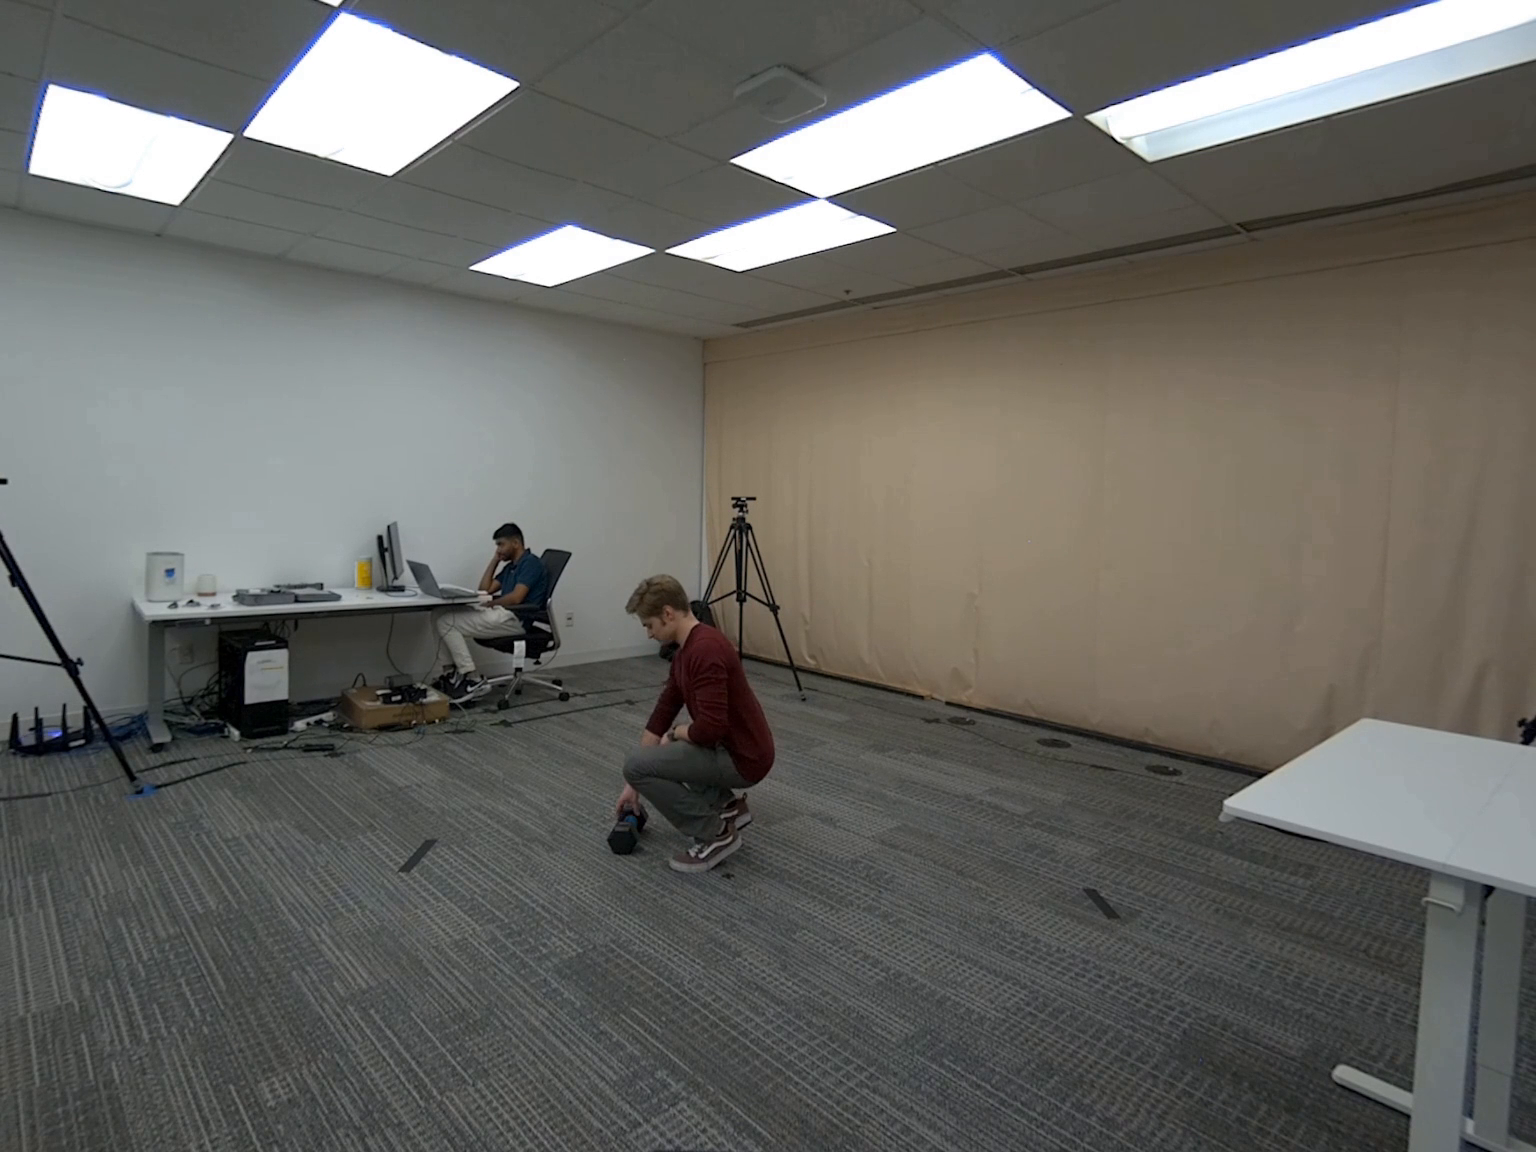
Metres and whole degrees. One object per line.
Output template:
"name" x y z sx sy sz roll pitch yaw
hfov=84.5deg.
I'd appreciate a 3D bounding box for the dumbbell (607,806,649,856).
"dumbbell" -0.571 1.016 3.400 0.108 0.123 0.294 28 4 -2
